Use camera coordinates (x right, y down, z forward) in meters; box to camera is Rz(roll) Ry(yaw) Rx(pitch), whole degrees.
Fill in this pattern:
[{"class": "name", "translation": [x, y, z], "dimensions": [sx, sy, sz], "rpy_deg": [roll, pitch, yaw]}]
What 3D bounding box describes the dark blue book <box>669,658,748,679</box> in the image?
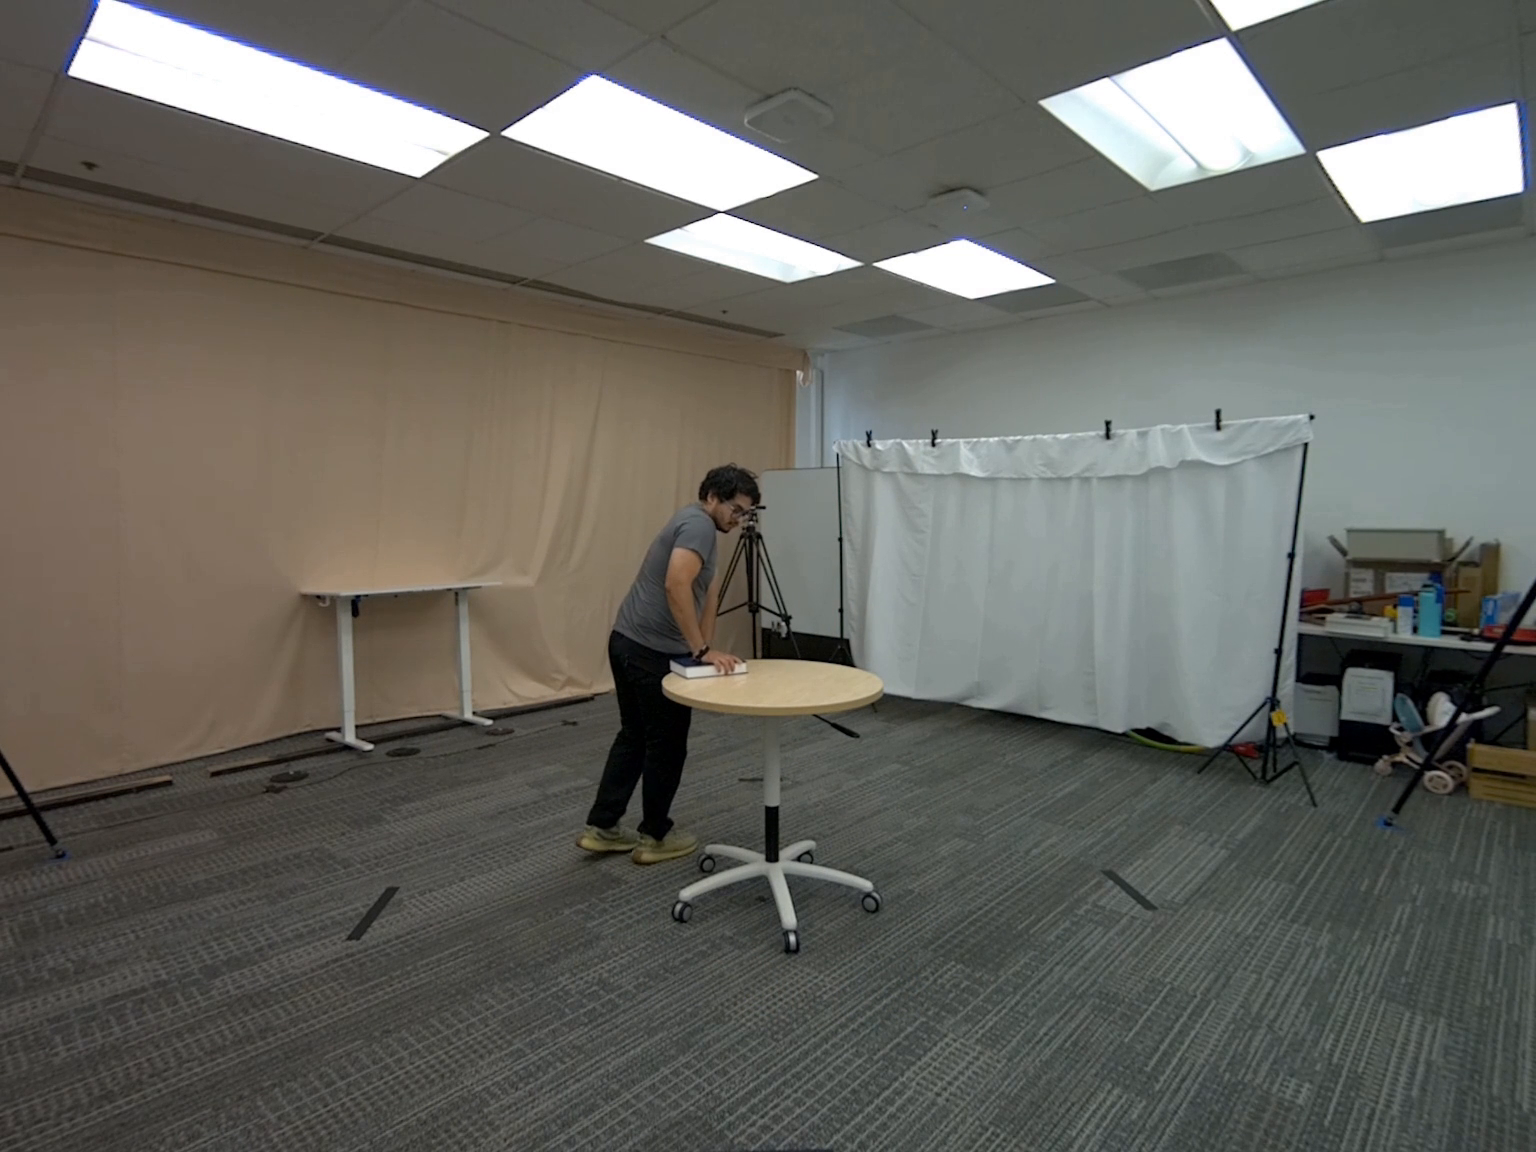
[{"class": "dark blue book", "translation": [-0.217, 0.331, 3.080], "dimensions": [0.239, 0.045, 0.168], "rpy_deg": [-2, 5, -25]}]
